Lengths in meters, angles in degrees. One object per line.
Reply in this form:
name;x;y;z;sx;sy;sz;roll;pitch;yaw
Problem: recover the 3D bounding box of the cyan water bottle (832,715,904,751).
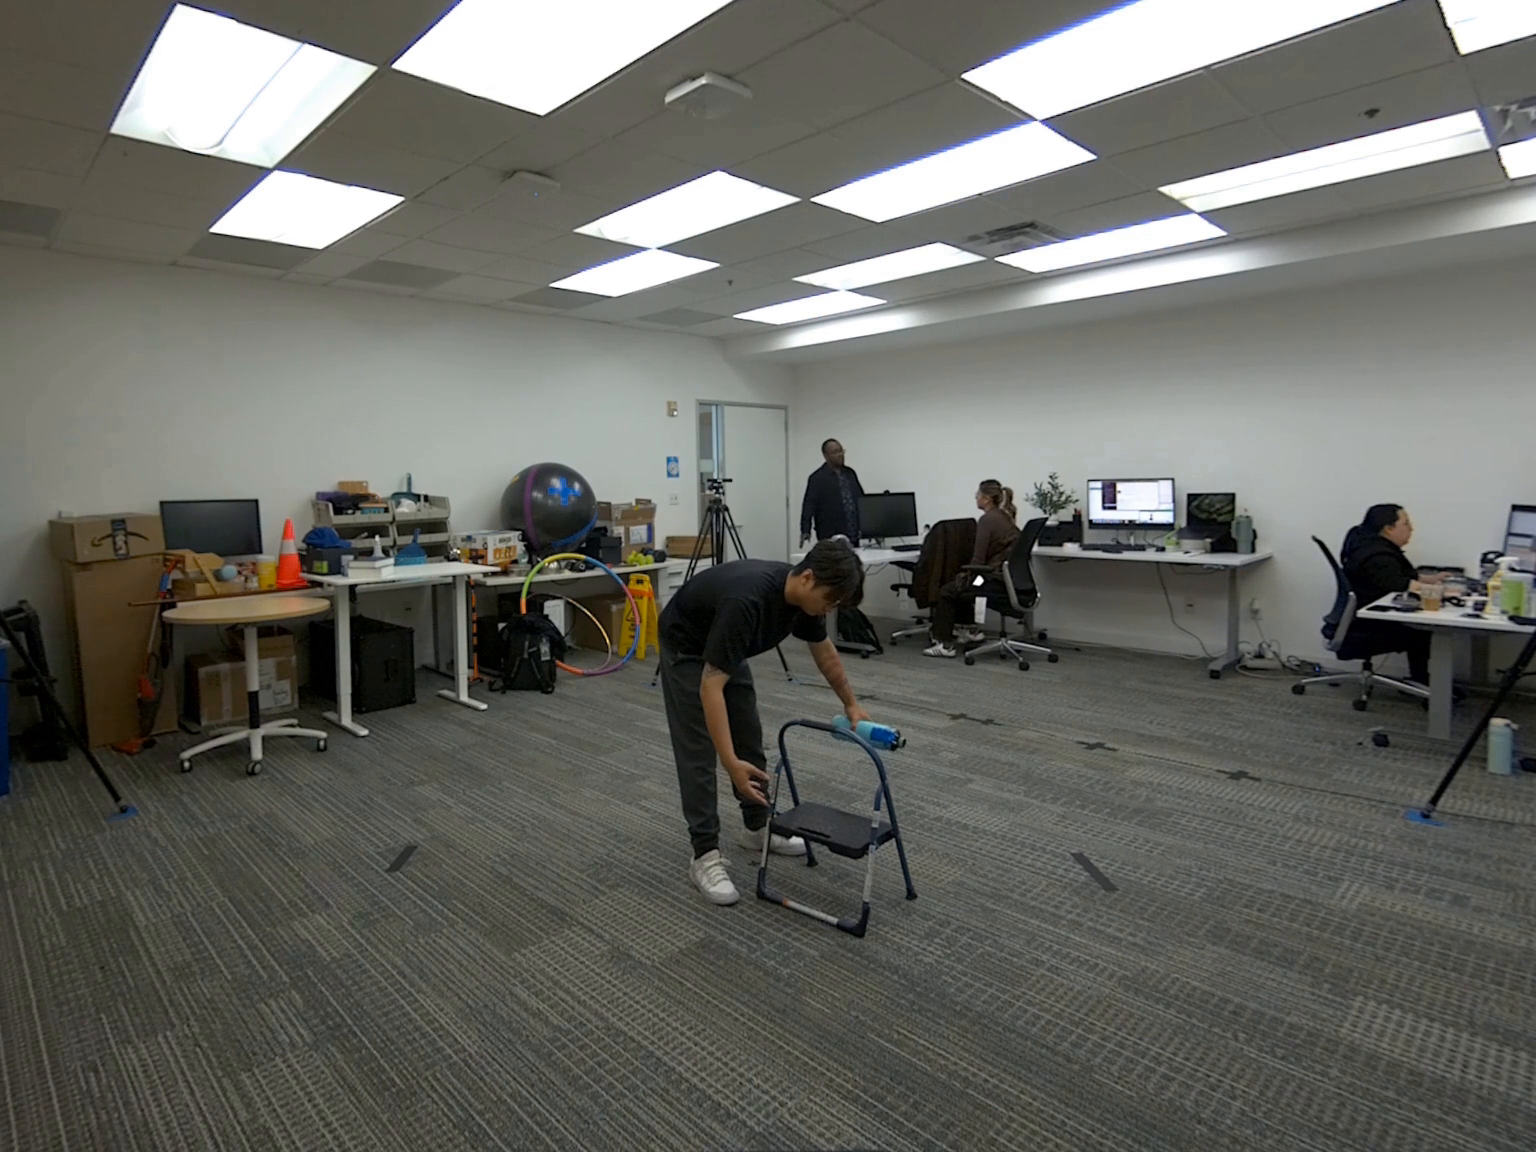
cyan water bottle;0.358;0.583;3.135;0.292;0.092;0.090;5;7;39
